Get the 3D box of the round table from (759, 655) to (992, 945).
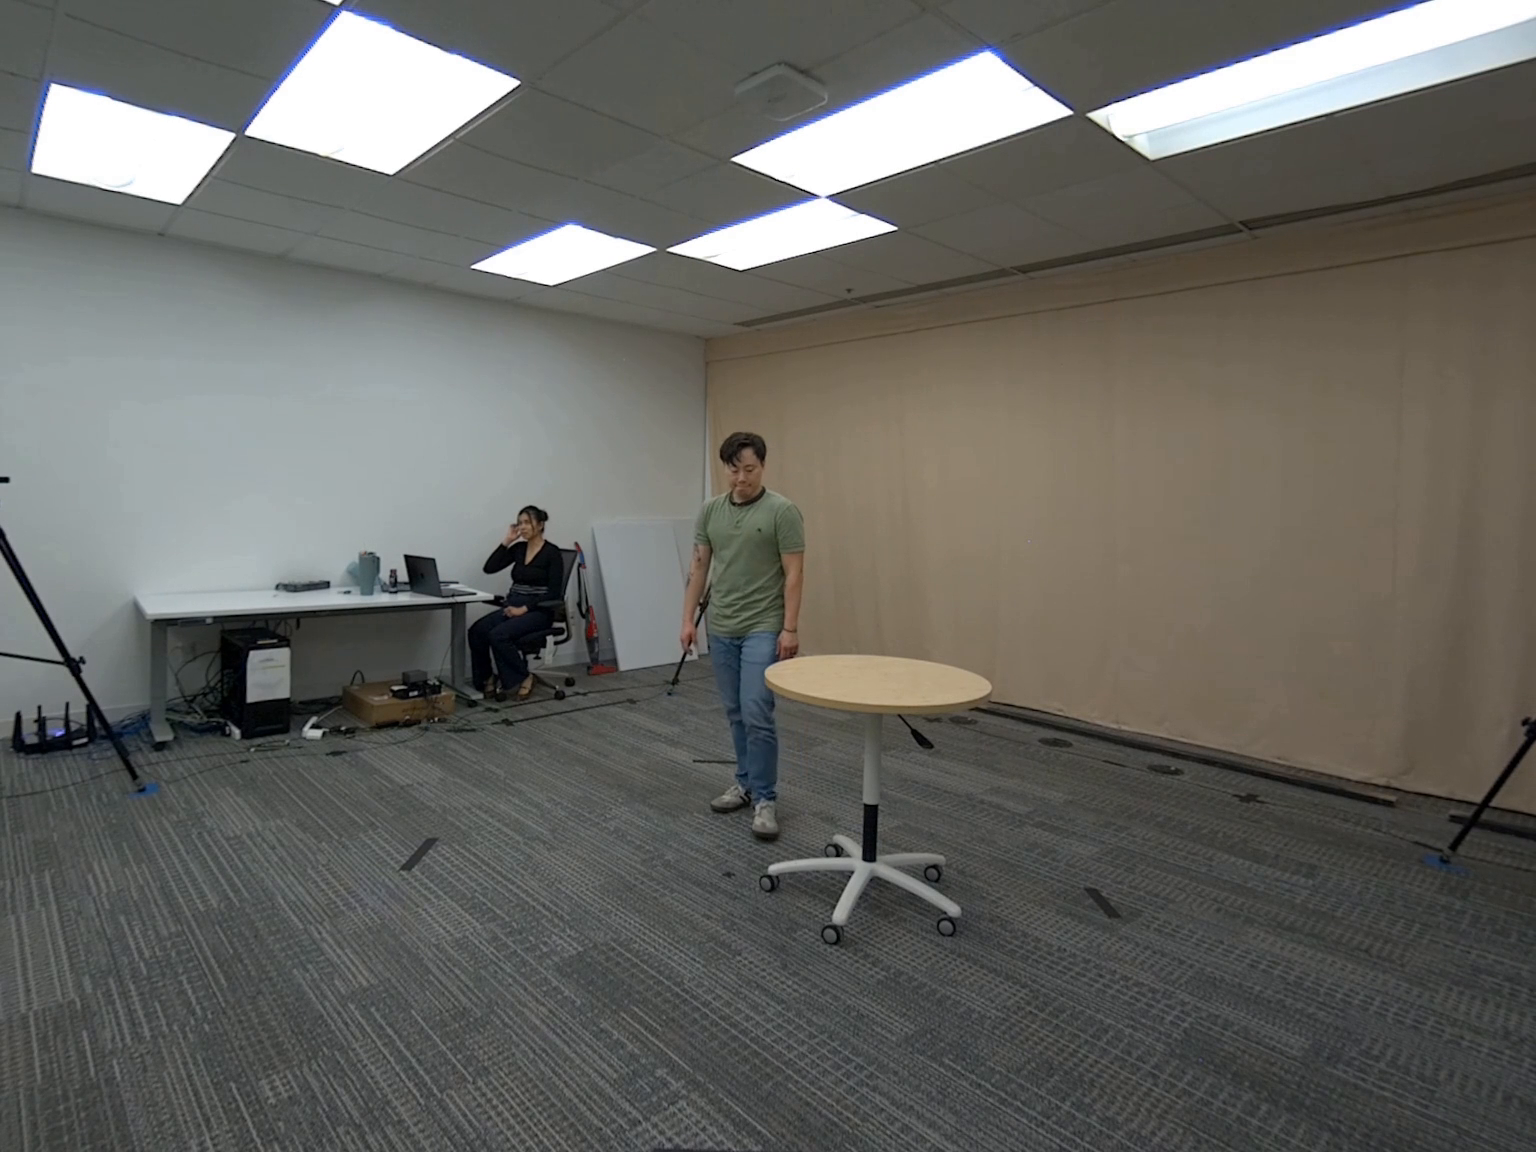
[{"bbox_3d":[0.354,0.744,2.912,0.763,0.791,0.767,2,5,-2],"label":"round table"}]
